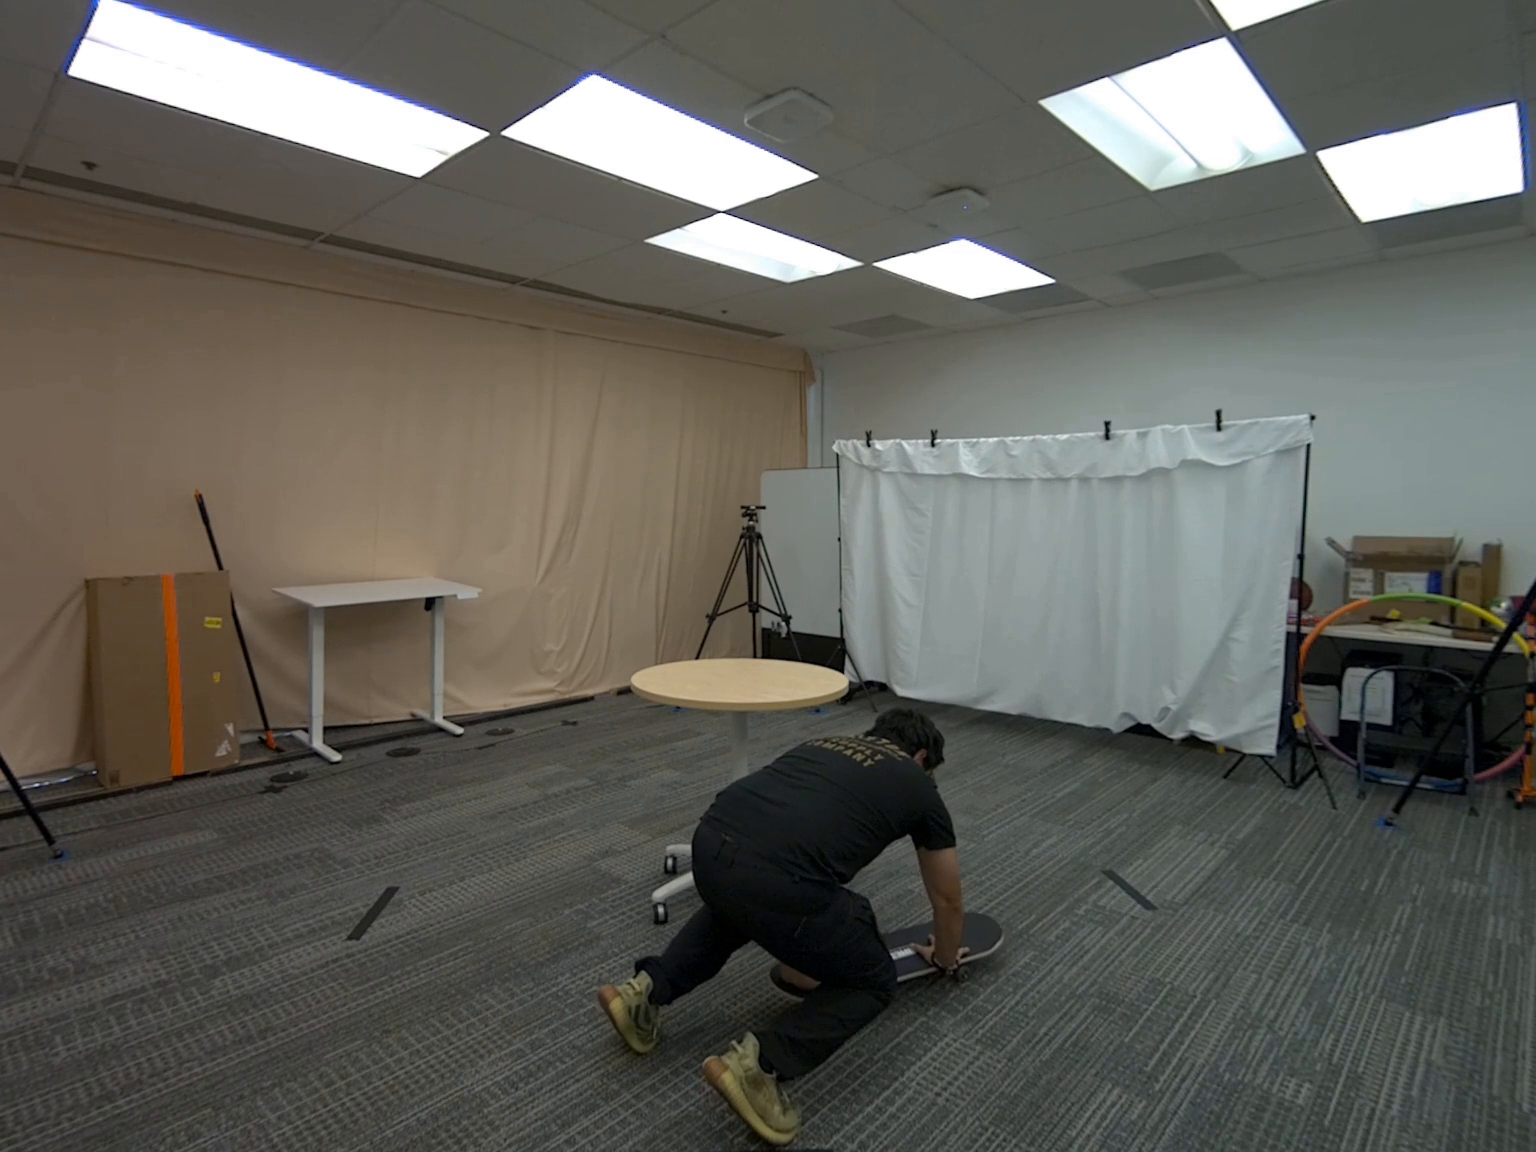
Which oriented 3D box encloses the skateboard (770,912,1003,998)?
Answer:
[{"bbox_3d":[0.371,1.133,2.446,0.767,0.110,0.199,-2,9,-25],"label":"skateboard"}]
